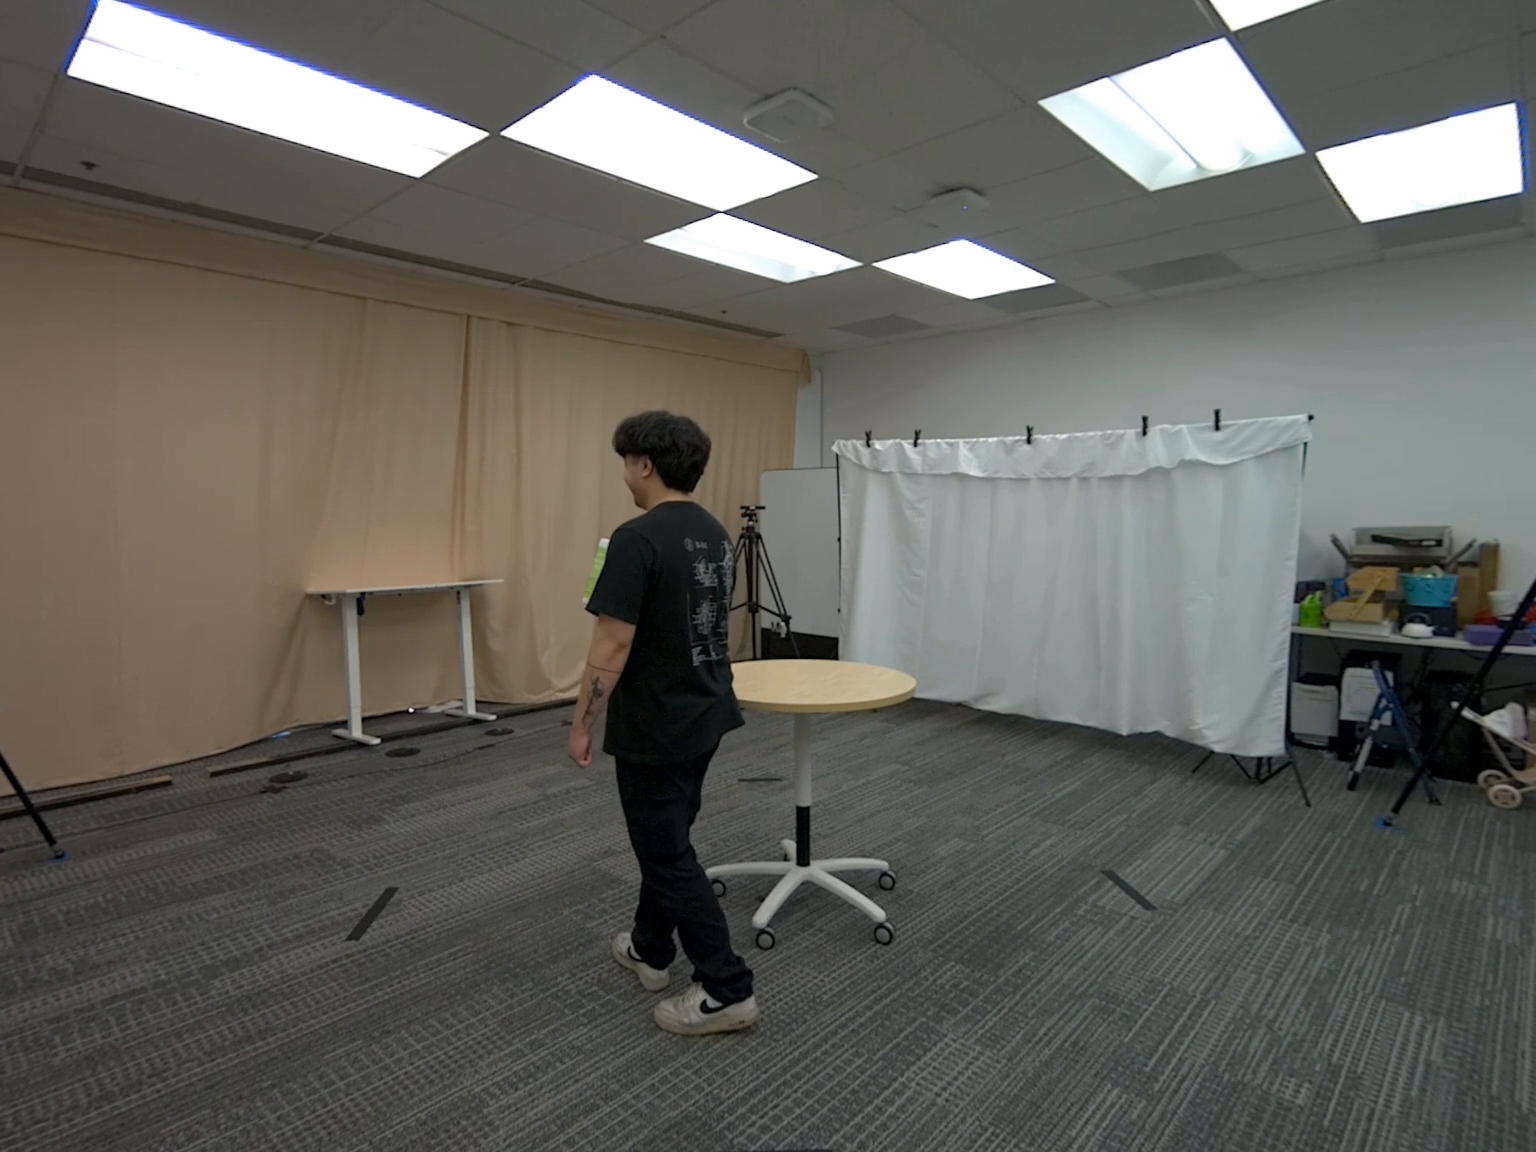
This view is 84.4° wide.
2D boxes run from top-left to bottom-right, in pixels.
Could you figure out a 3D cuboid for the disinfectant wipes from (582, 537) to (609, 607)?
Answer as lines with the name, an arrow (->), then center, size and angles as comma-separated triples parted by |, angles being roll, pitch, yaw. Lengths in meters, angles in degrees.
disinfectant wipes -> -0.504, -0.003, 2.682 | 0.118, 0.217, 0.118 | 14, -1, -2
